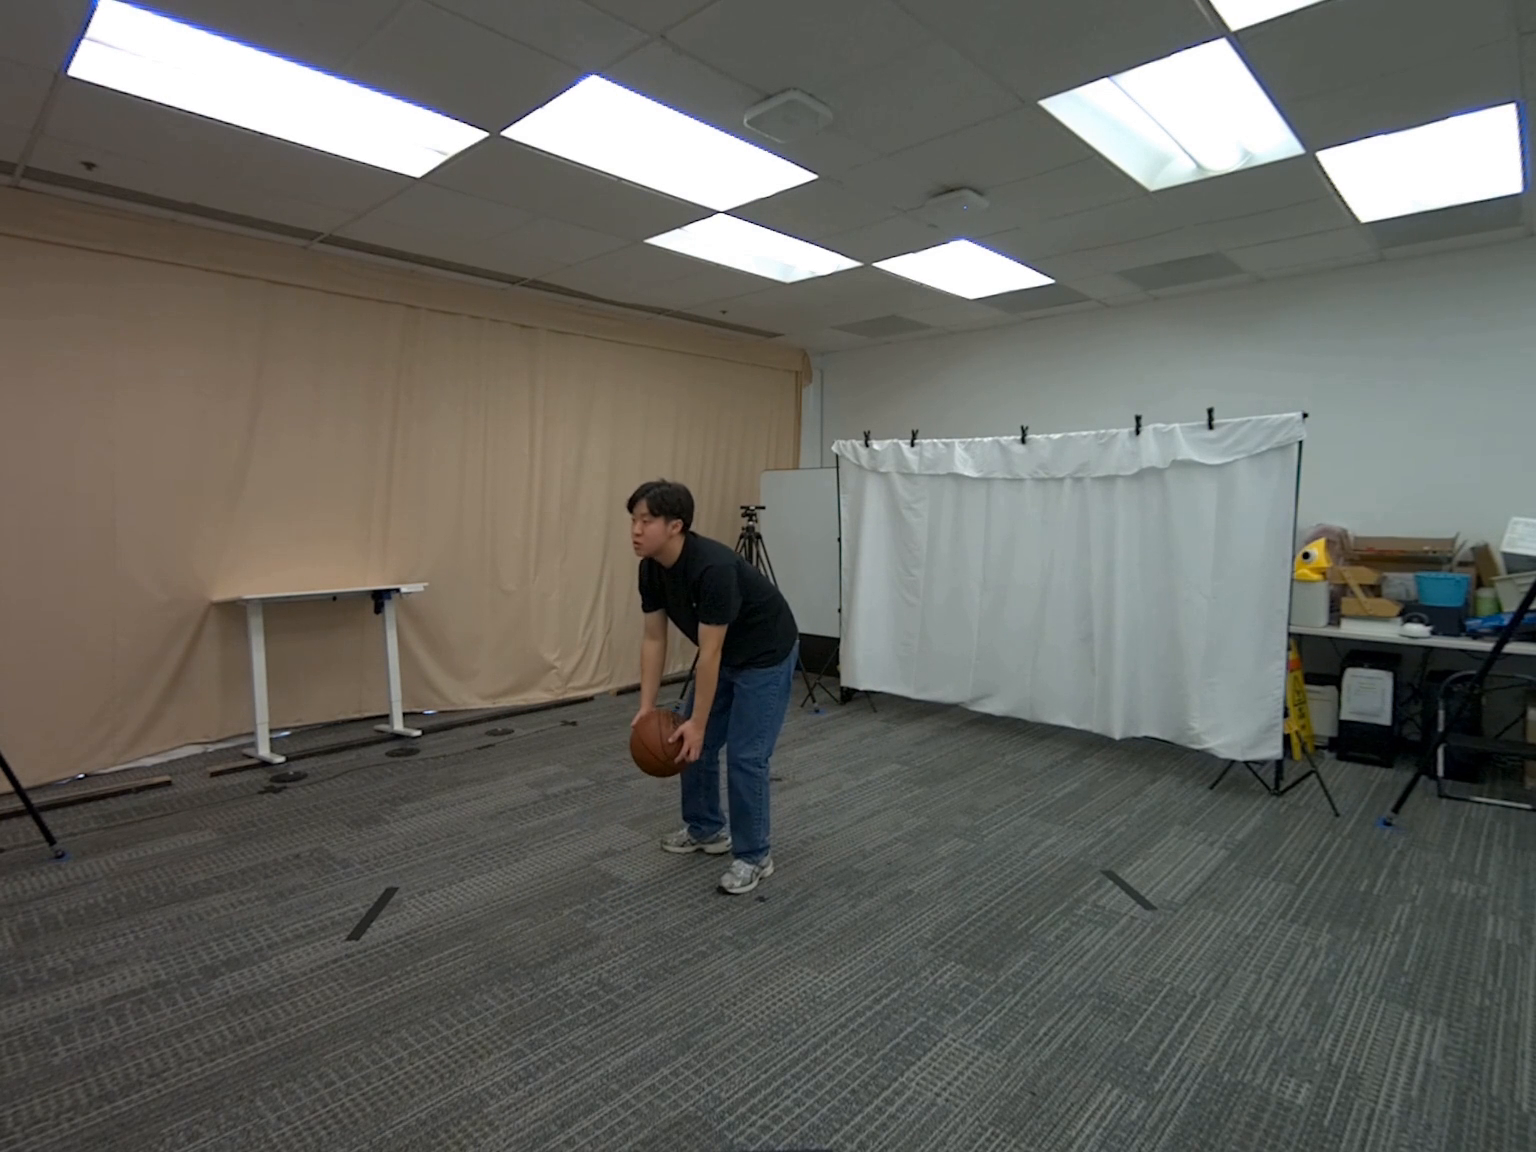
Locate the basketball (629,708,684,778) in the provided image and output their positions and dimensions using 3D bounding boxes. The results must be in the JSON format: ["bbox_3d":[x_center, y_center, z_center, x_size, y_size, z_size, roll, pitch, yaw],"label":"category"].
[{"bbox_3d":[-0.378,0.611,3.029,0.236,0.235,0.237,0,4,-2],"label":"basketball"}]
